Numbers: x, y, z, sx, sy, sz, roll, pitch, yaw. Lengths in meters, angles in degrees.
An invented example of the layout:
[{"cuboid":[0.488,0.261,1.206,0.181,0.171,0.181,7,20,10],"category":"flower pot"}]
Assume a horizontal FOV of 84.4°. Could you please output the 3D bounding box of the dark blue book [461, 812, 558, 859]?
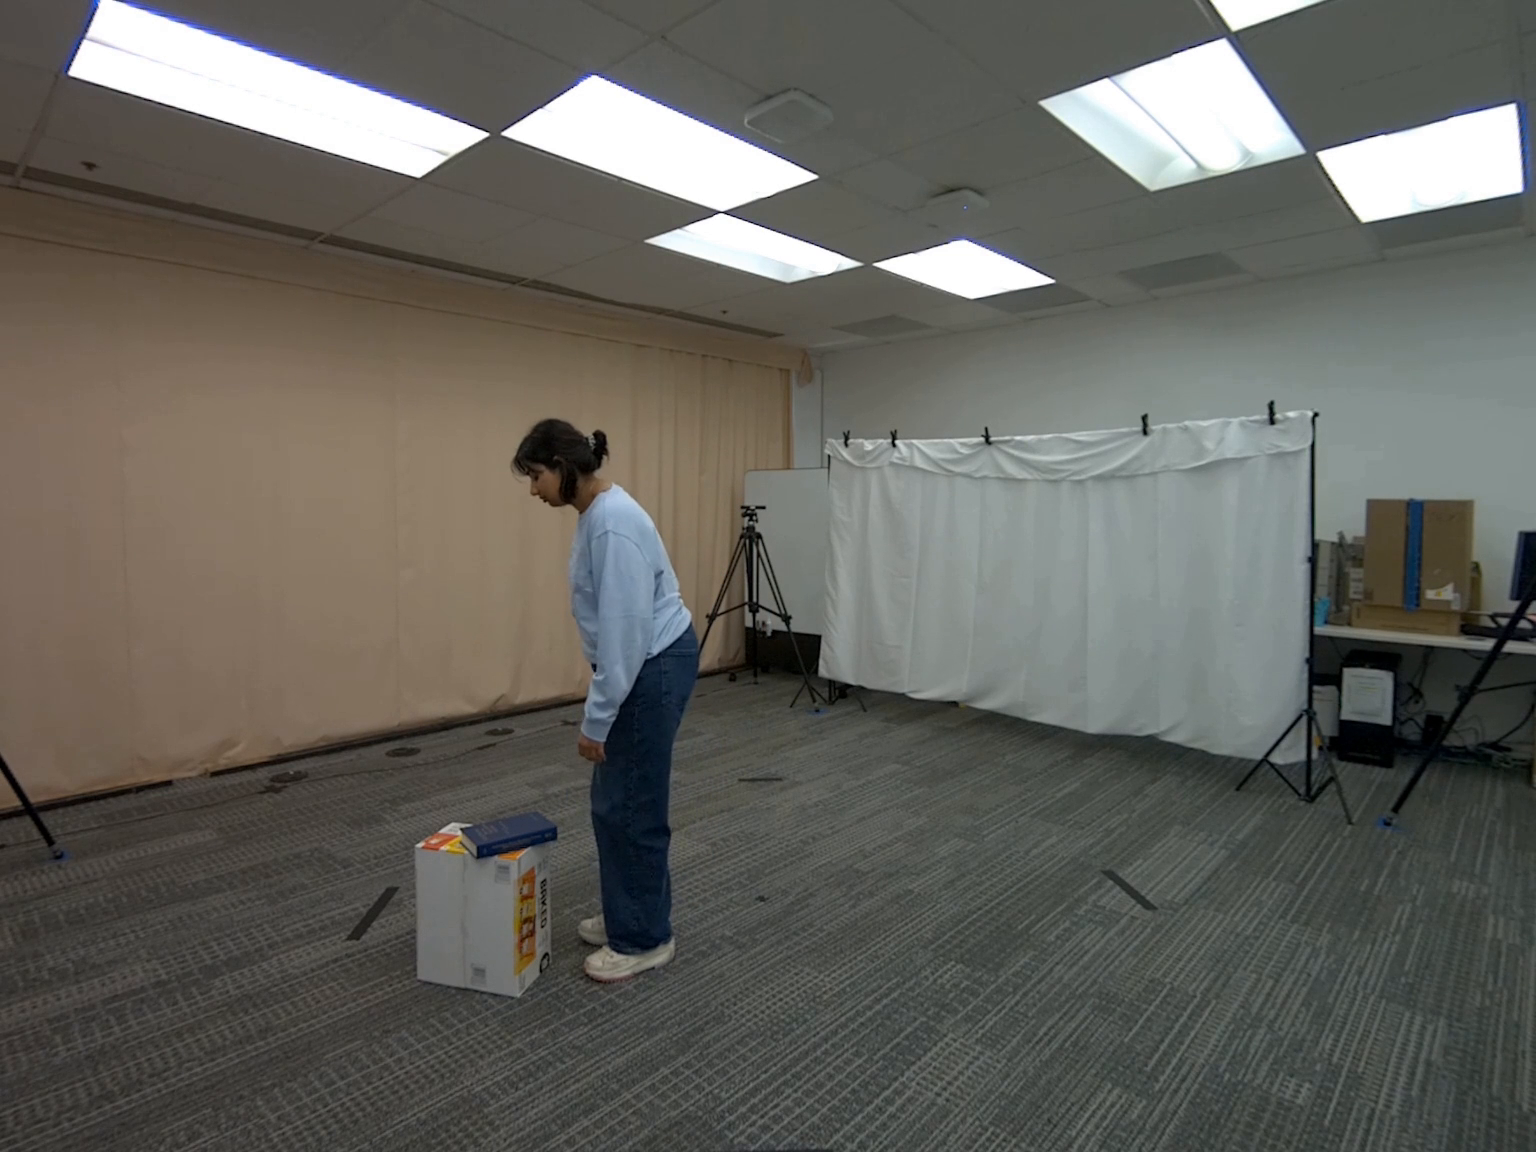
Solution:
[{"cuboid":[-0.767,0.771,2.484,0.238,0.045,0.168,-4,4,-35],"category":"dark blue book"}]
